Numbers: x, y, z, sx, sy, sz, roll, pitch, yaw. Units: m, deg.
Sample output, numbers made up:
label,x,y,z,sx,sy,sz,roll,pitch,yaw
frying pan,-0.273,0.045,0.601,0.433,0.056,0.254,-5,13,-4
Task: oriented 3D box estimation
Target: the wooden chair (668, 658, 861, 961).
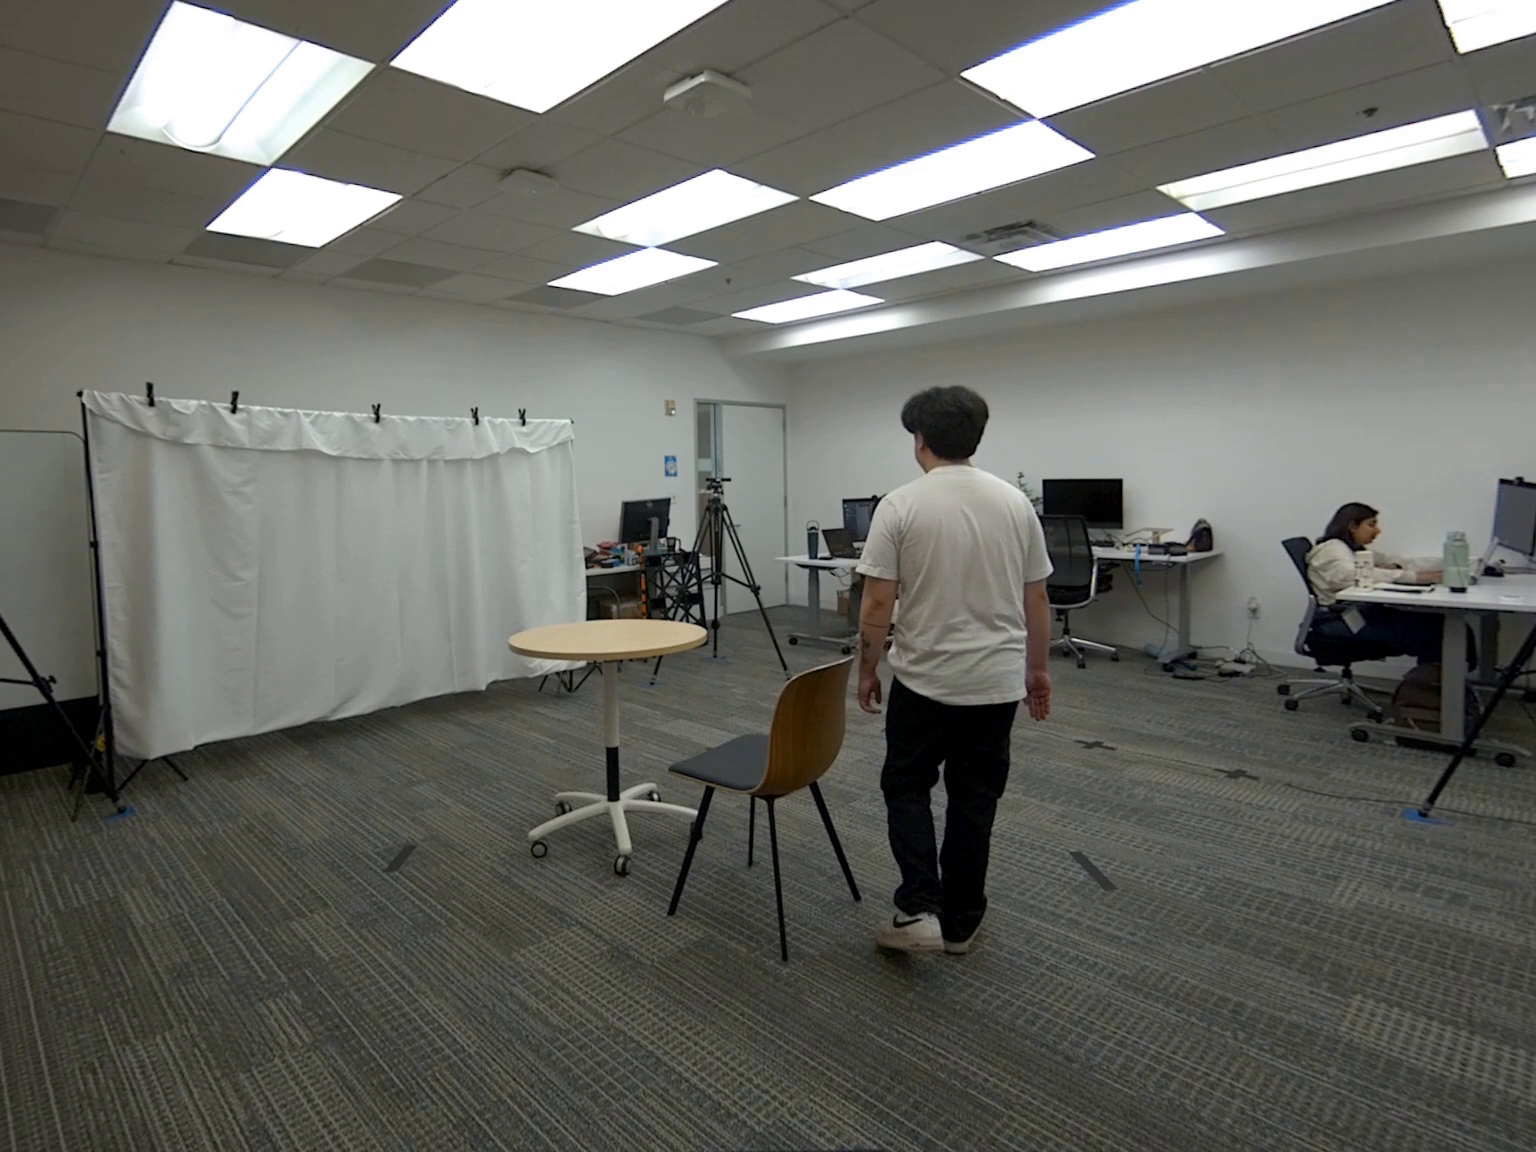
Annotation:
label,x,y,z,sx,sy,sz,roll,pitch,yaw
wooden chair,-0.017,0.654,2.752,0.540,0.872,0.466,8,9,37
